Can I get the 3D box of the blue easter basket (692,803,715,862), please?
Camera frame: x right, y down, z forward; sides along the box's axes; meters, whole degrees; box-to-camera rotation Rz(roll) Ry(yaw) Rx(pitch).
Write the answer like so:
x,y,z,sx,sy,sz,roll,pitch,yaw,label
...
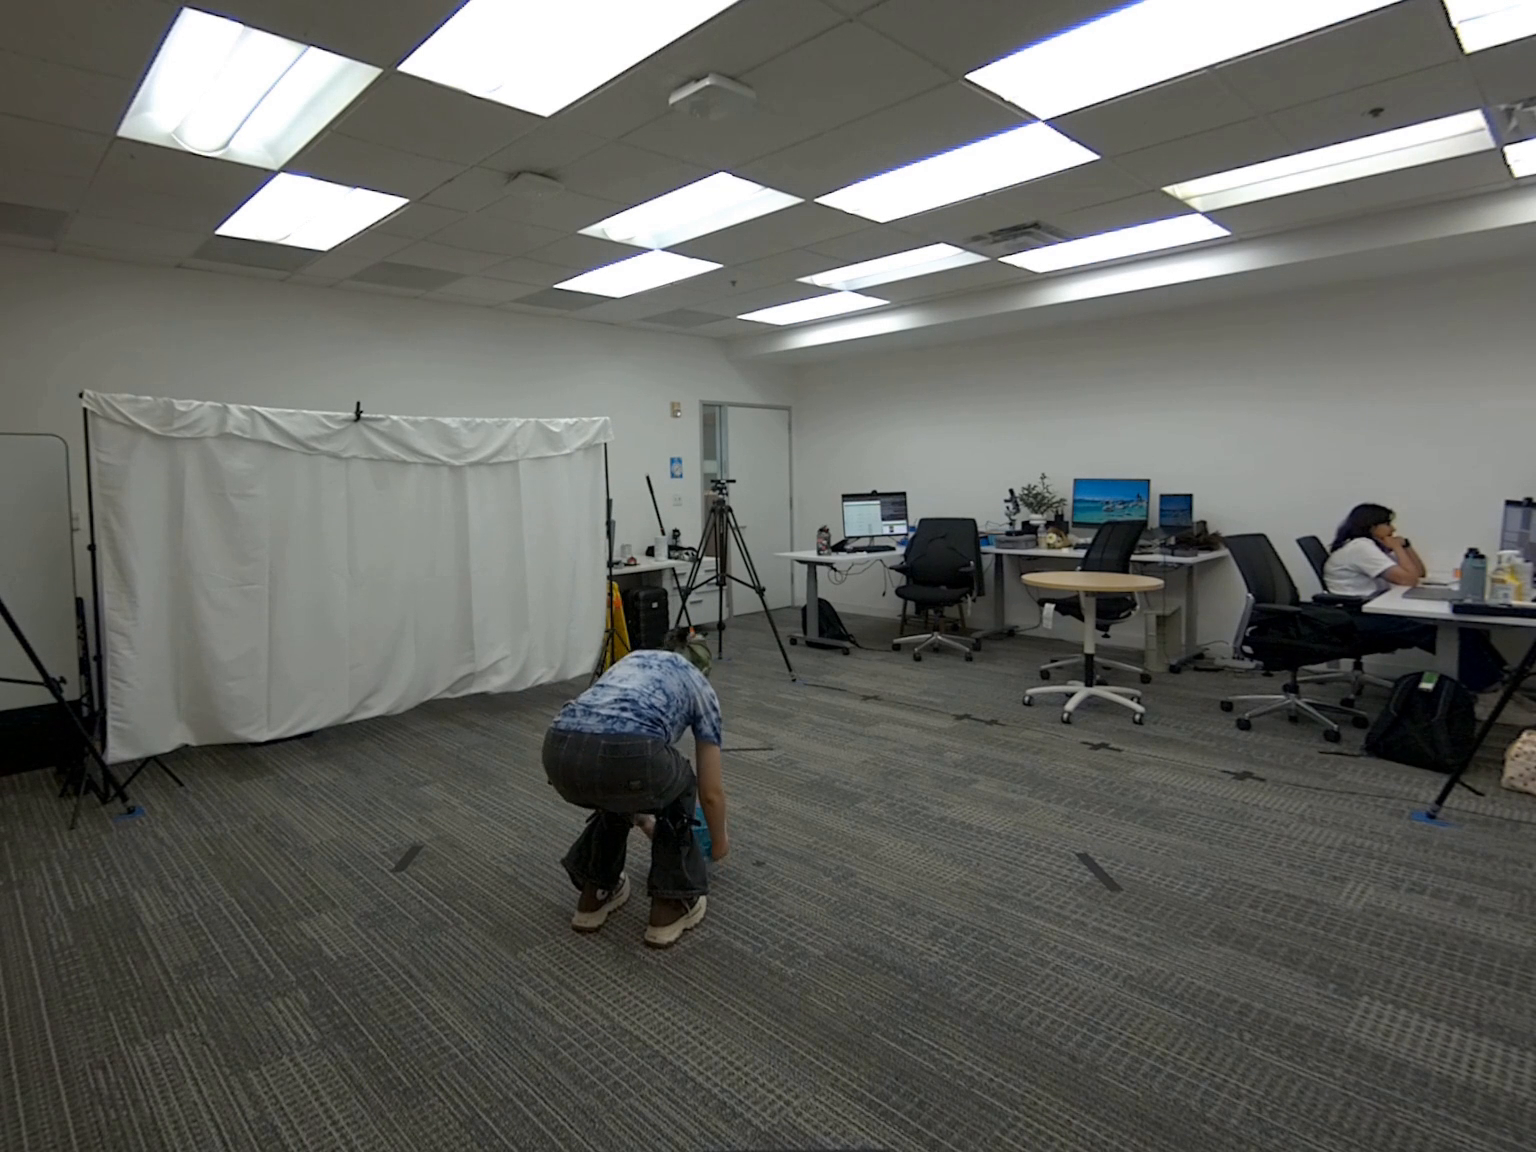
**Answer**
x,y,z,sx,sy,sz,roll,pitch,yaw,label
-0.264,0.927,3.030,0.243,0.155,0.244,-1,3,-2,blue easter basket
